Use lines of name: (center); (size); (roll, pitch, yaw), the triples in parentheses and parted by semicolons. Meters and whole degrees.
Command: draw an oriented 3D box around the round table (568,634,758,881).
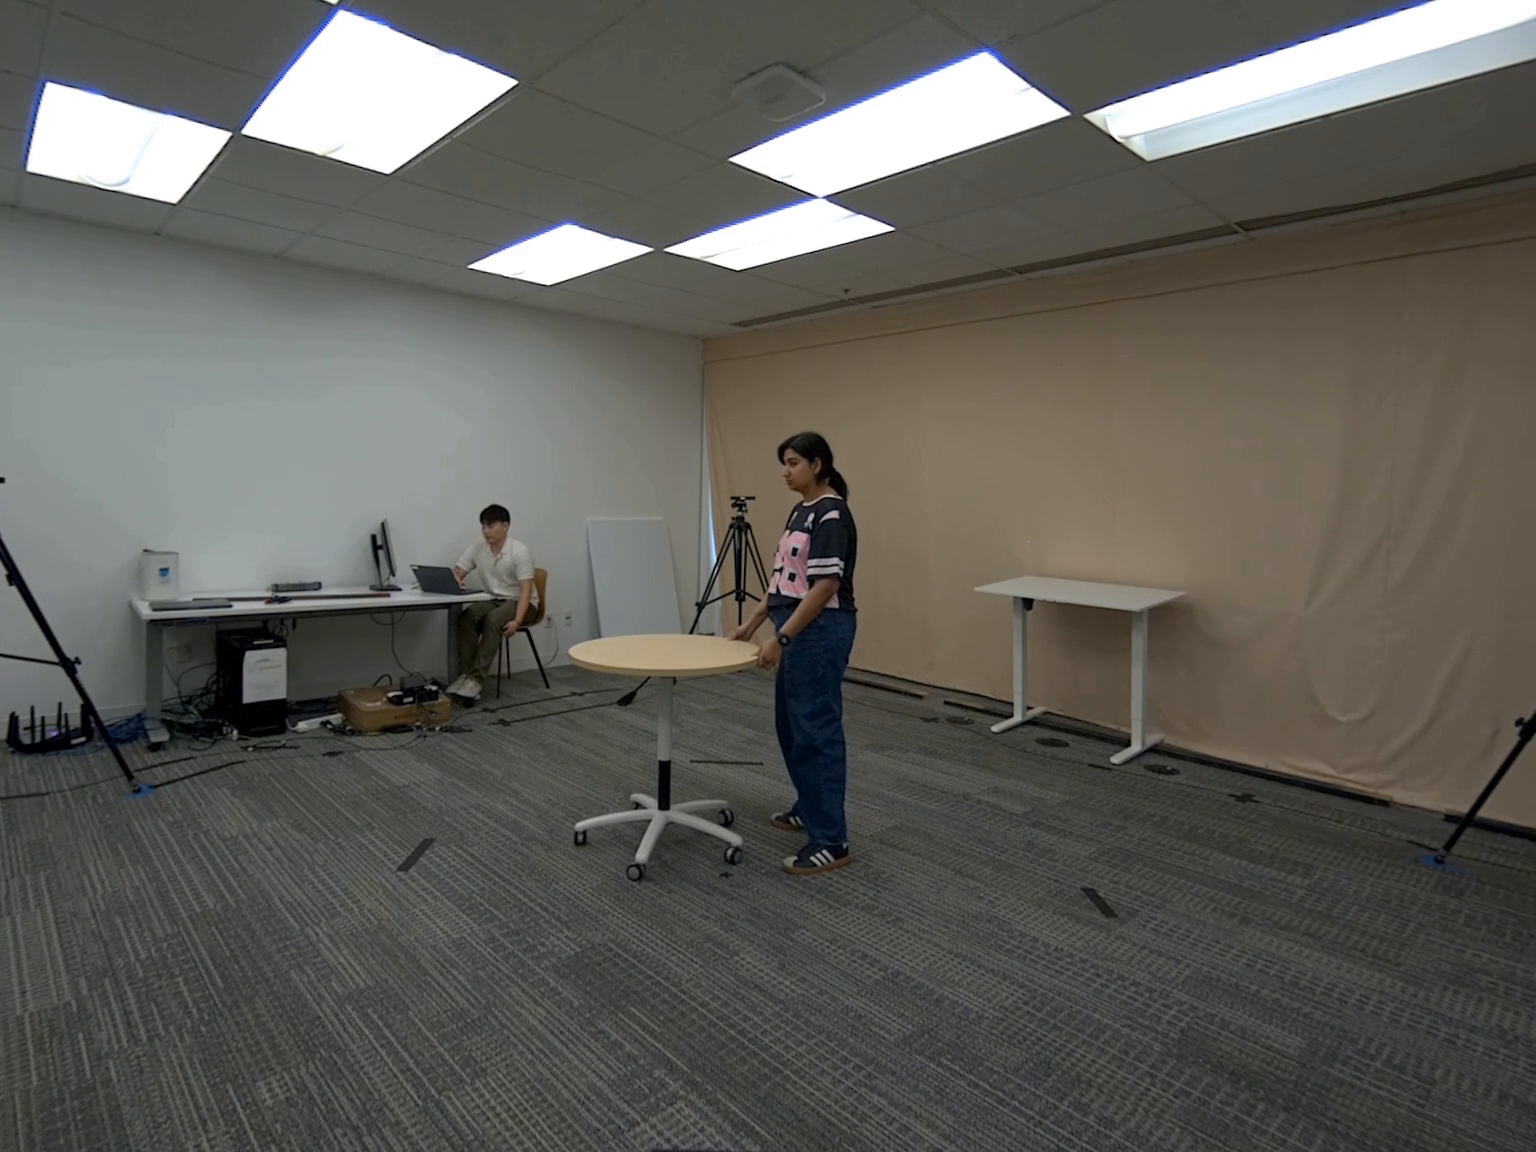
round table: (-0.417, 0.686, 3.353); (0.763, 0.792, 0.766); (1, 4, -1)
